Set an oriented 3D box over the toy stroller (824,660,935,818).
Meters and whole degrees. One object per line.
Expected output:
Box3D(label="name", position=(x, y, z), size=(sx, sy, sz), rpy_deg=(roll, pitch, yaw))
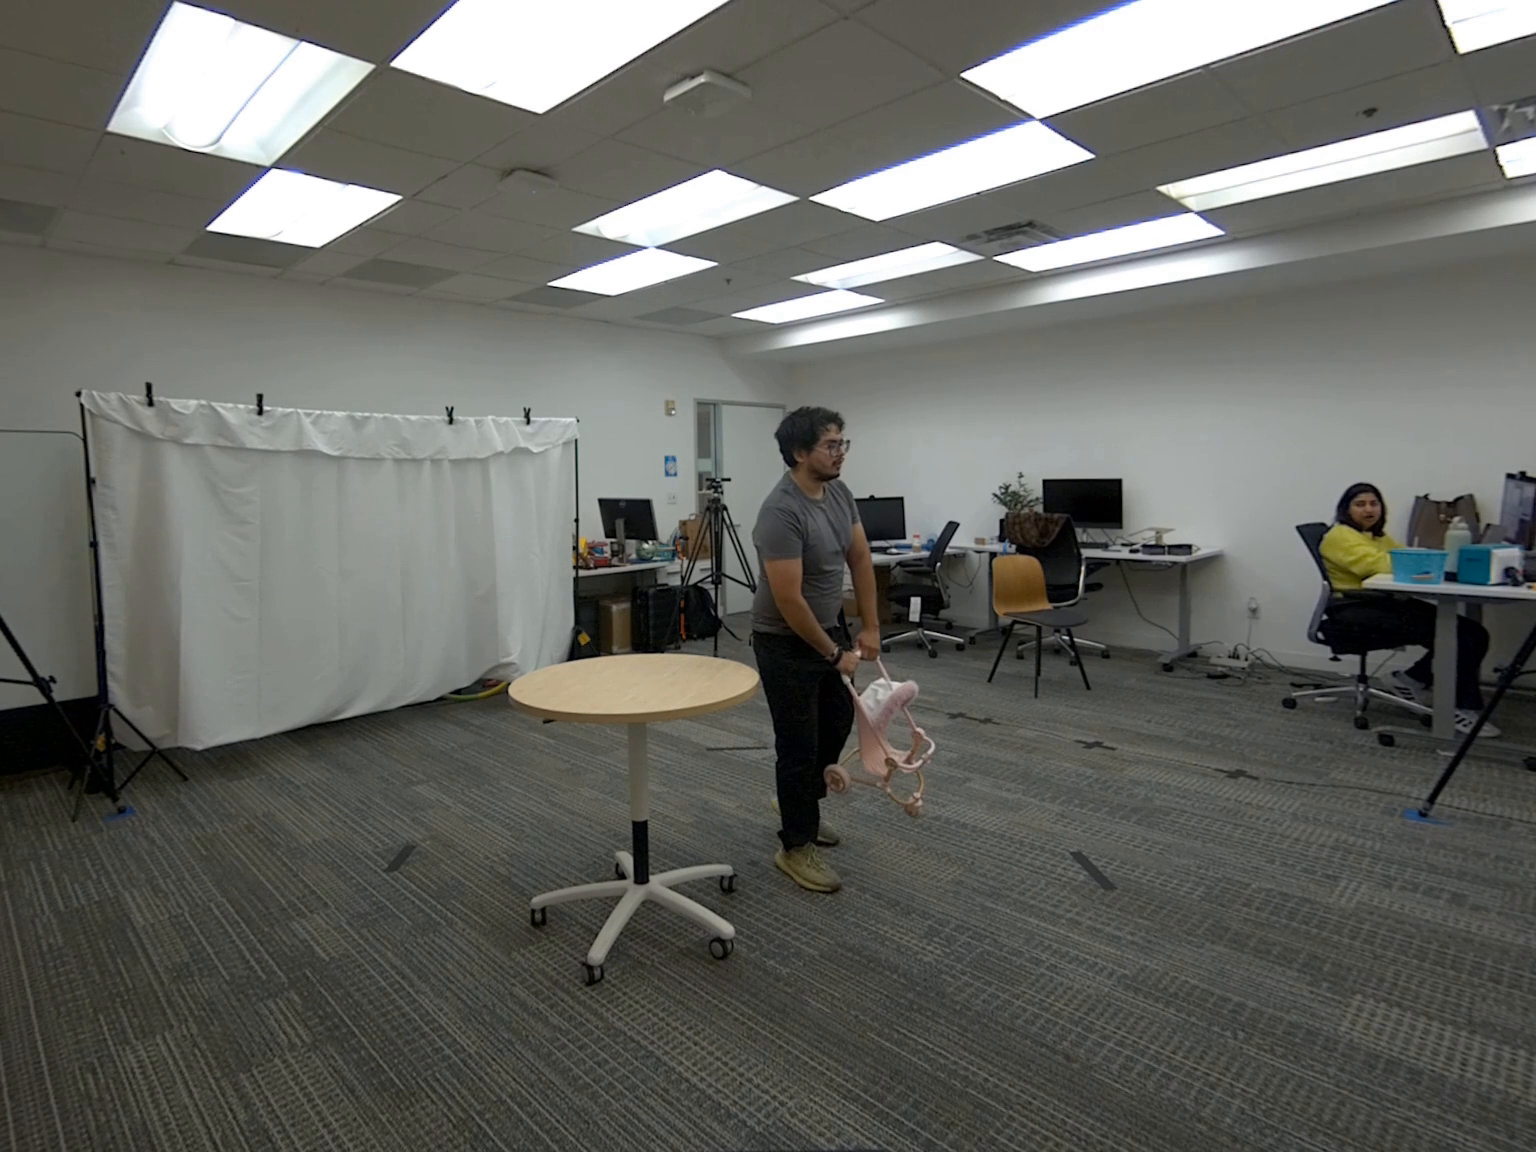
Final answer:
Box3D(label="toy stroller", position=(0.404, 0.558, 2.946), size=(0.353, 0.525, 0.277), rpy_deg=(21, 29, 36))
